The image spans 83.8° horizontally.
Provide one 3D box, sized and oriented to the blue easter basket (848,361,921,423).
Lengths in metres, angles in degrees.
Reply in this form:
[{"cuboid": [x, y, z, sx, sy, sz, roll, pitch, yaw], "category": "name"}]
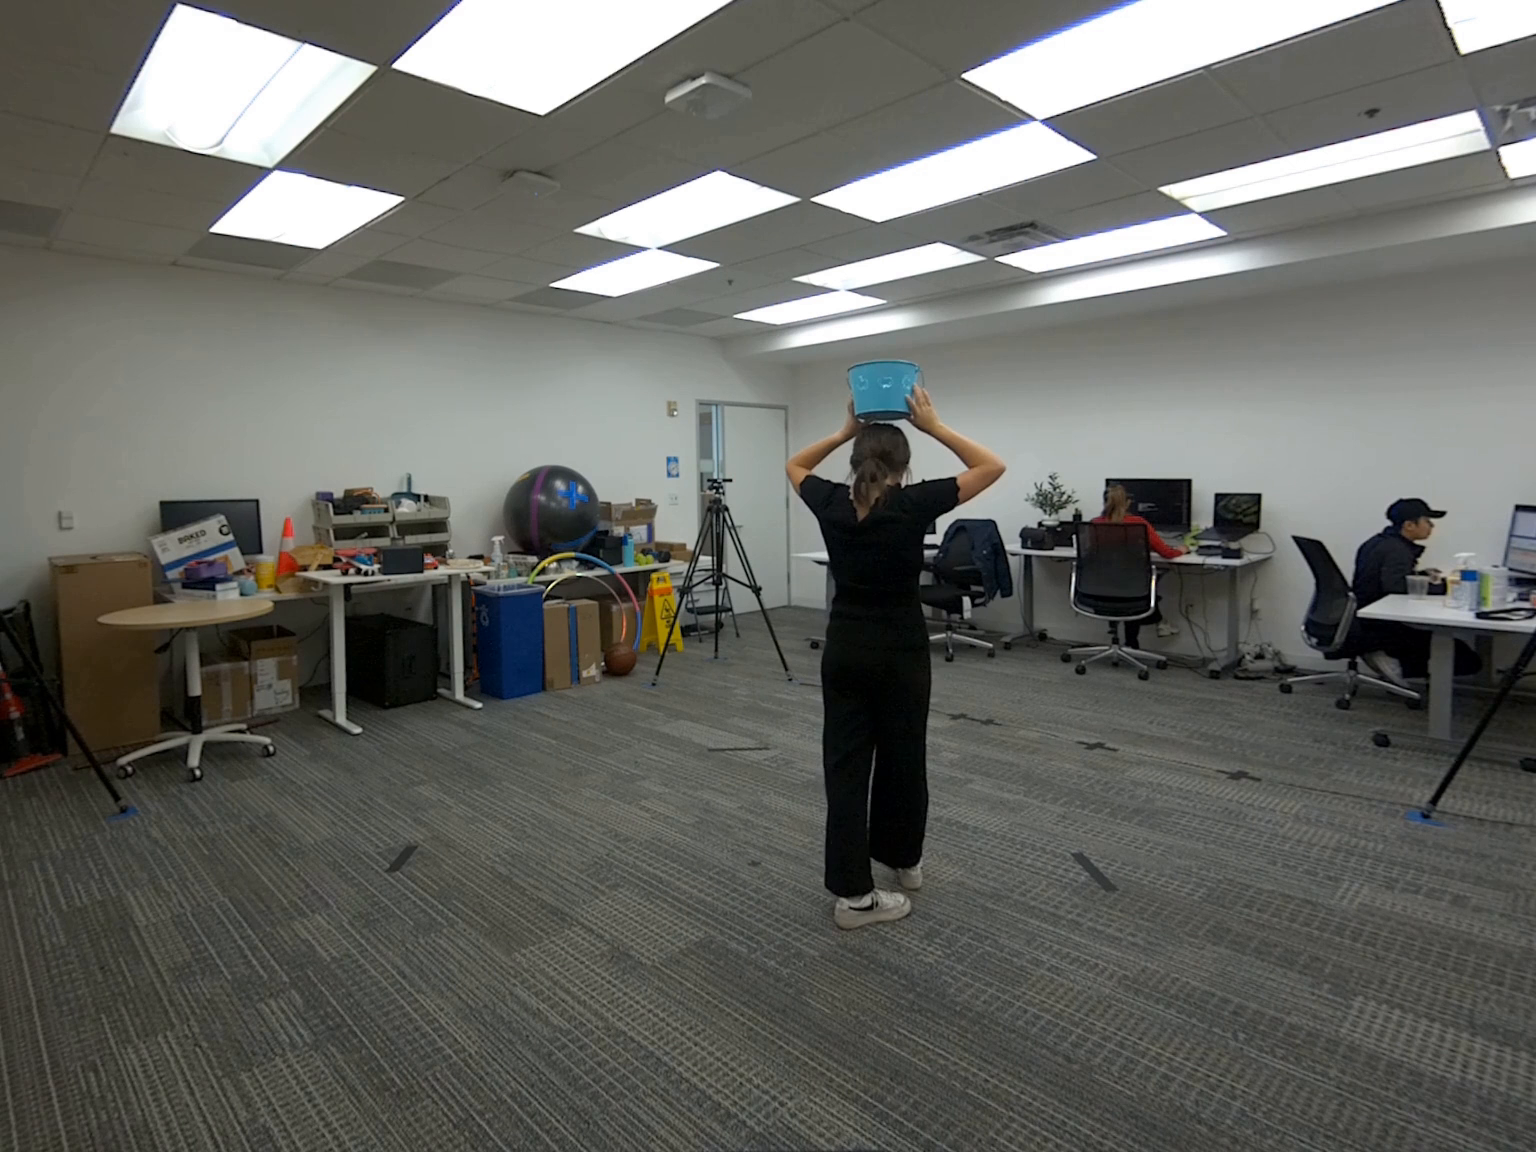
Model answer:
[{"cuboid": [0.398, -0.591, 2.742, 0.243, 0.156, 0.243, 1, -1, -2], "category": "blue easter basket"}]
